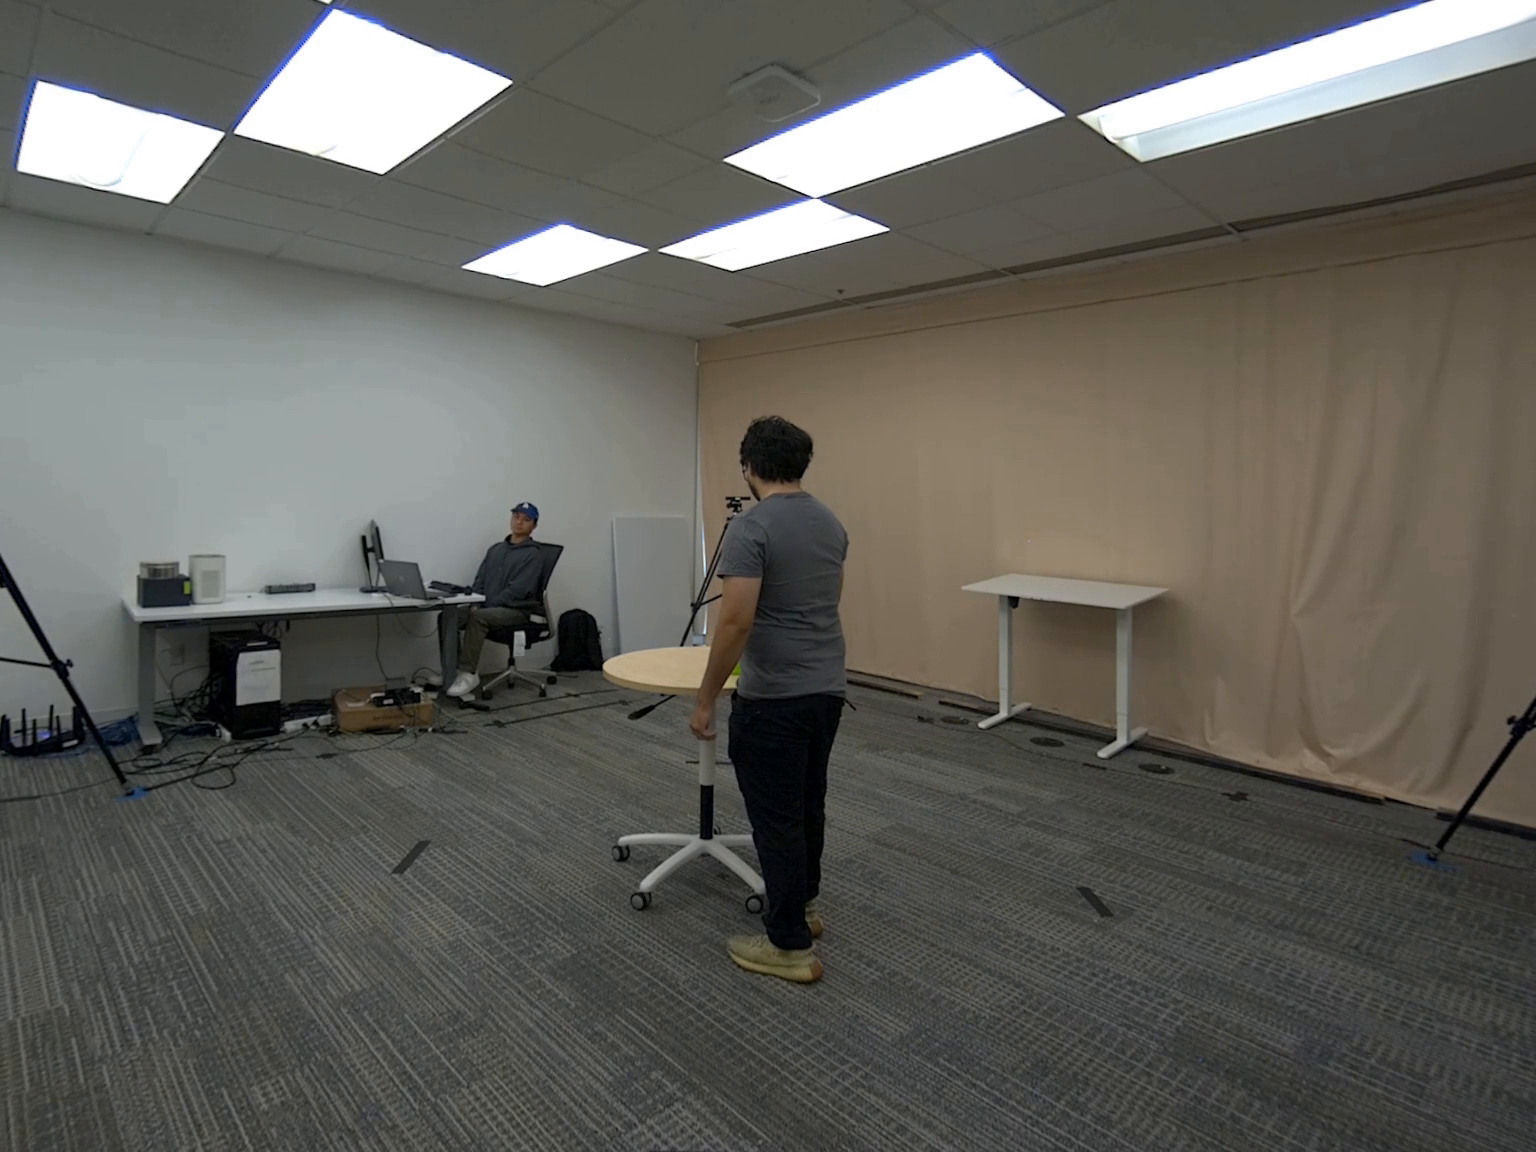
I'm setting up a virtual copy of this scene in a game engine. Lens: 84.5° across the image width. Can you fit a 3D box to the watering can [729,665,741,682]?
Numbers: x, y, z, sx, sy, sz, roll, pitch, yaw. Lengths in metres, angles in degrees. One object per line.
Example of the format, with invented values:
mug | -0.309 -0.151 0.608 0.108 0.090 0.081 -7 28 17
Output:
watering can | -0.052 0.260 2.932 0.276 0.176 0.099 -2 6 -8
